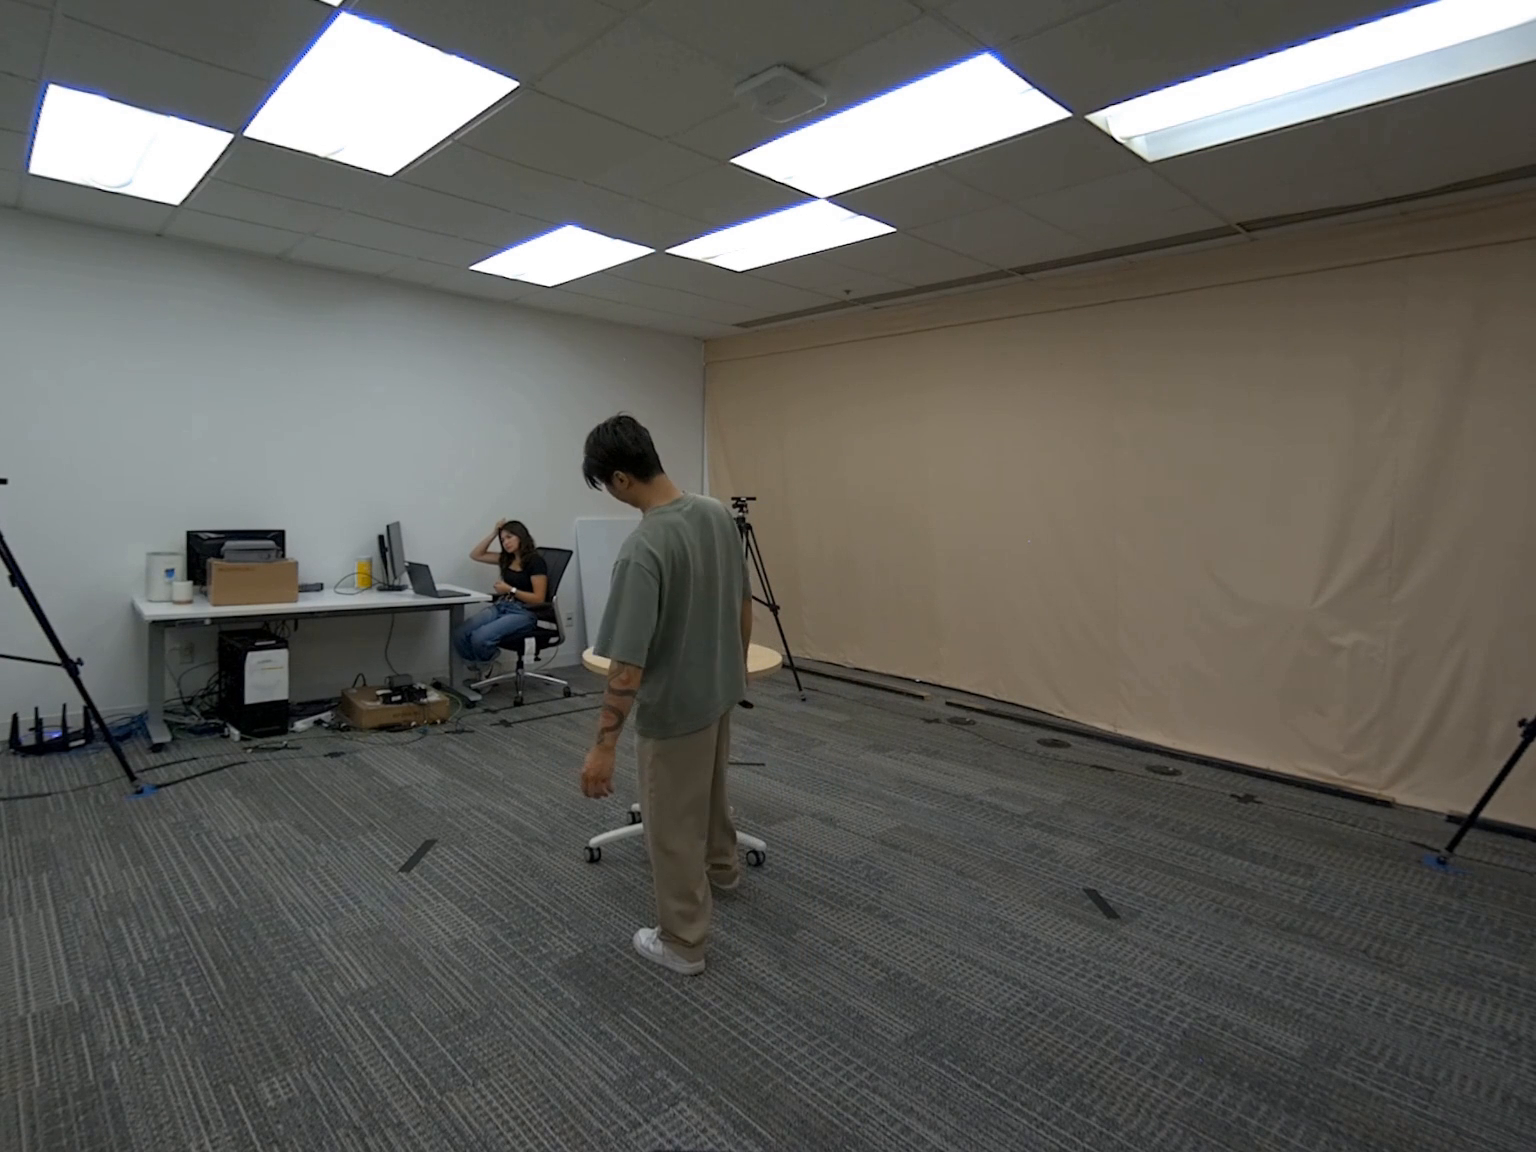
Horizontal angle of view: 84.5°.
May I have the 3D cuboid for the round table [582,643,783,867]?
[{"bbox_3d":[-0.334,0.697,3.269,0.784,0.784,0.788,2,5,-2],"label":"round table"}]
